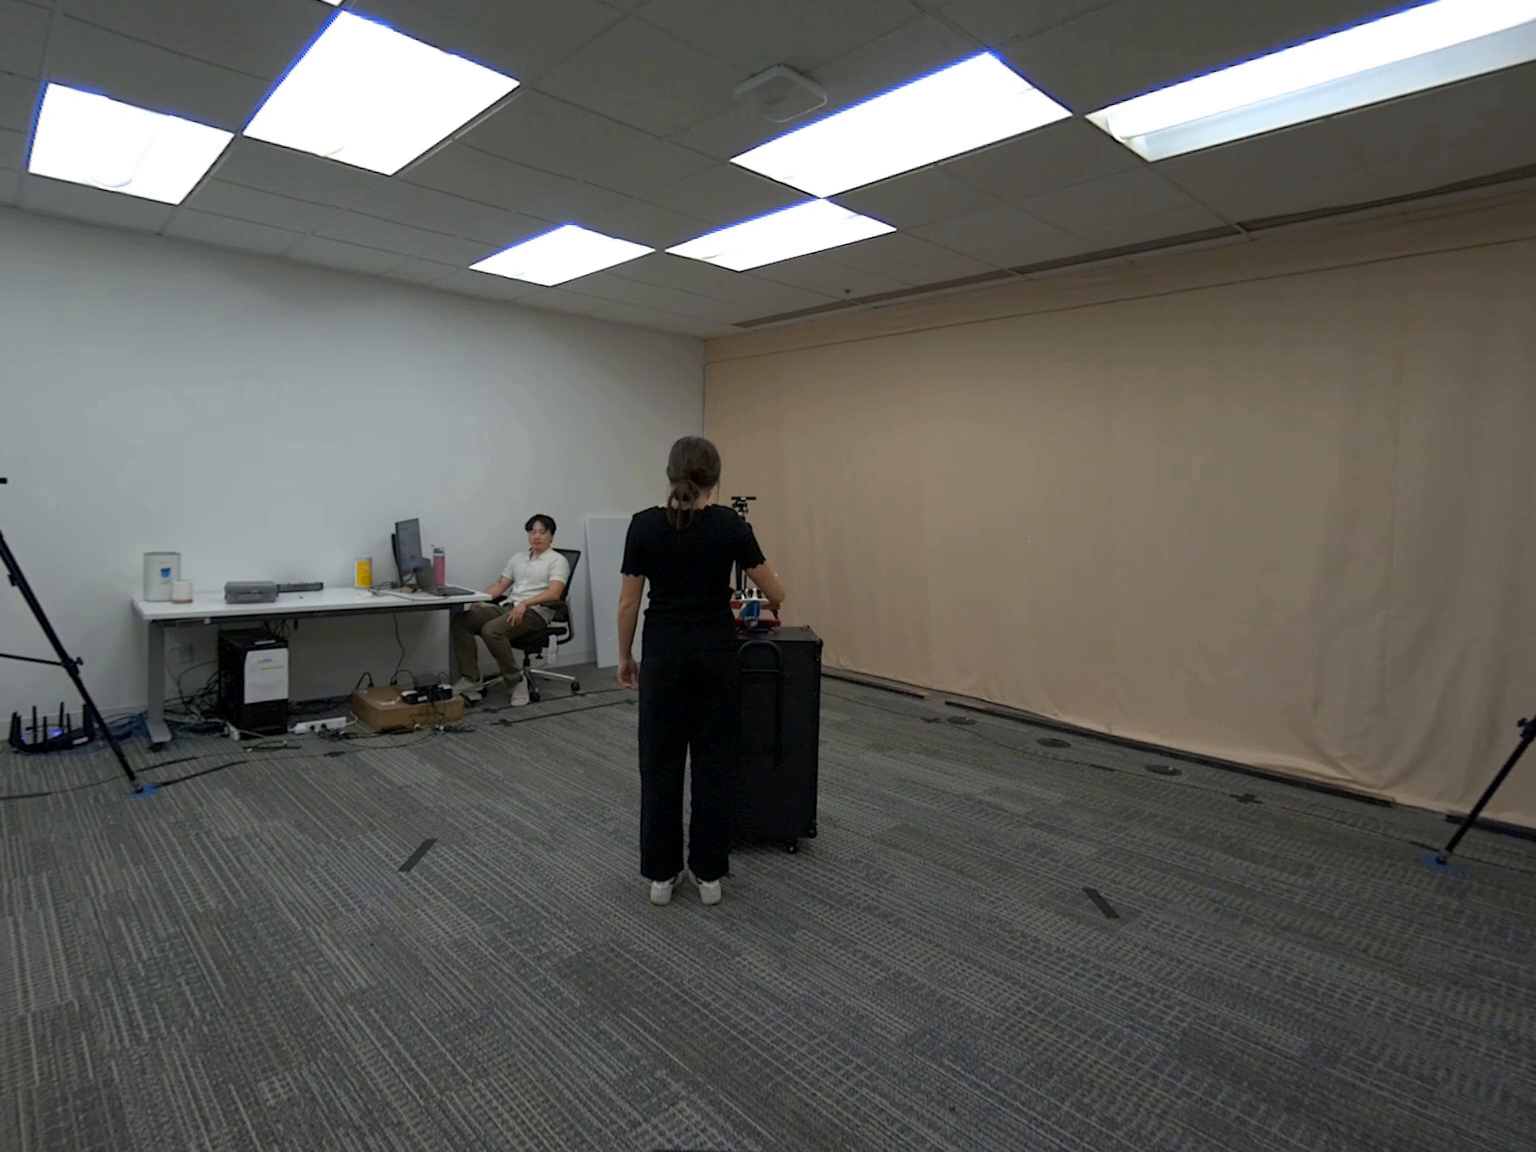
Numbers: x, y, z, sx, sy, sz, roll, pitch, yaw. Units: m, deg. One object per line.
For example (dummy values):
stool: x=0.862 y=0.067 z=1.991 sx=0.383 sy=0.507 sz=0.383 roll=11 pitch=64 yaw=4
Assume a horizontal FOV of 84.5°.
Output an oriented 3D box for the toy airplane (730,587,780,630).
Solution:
toy airplane: x=-0.101 y=0.134 z=3.446 sx=0.255 sy=0.157 sz=0.254 roll=-2 pitch=-7 yaw=19
